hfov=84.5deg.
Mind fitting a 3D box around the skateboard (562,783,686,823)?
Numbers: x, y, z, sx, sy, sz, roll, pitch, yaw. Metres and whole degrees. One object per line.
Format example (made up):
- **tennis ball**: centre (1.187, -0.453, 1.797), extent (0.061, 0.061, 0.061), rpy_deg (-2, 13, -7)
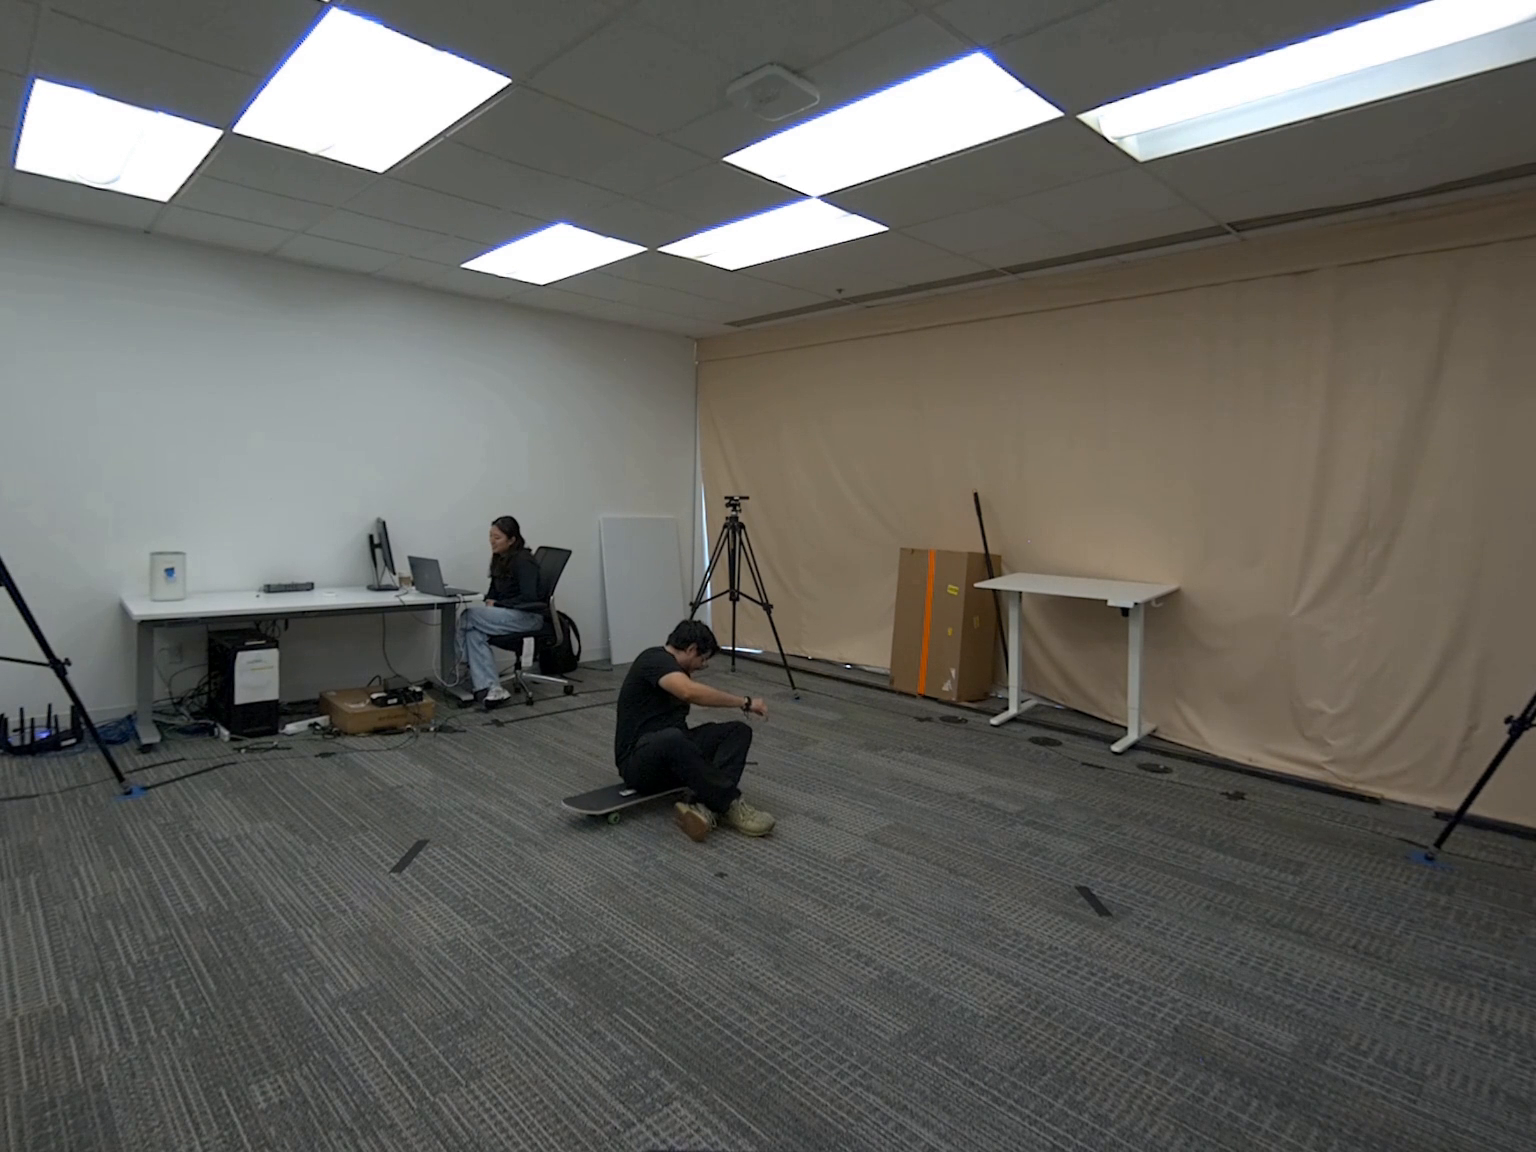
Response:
- **skateboard**: centre (-0.586, 0.977, 3.746), extent (0.198, 0.110, 0.767), rpy_deg (8, 7, 43)
